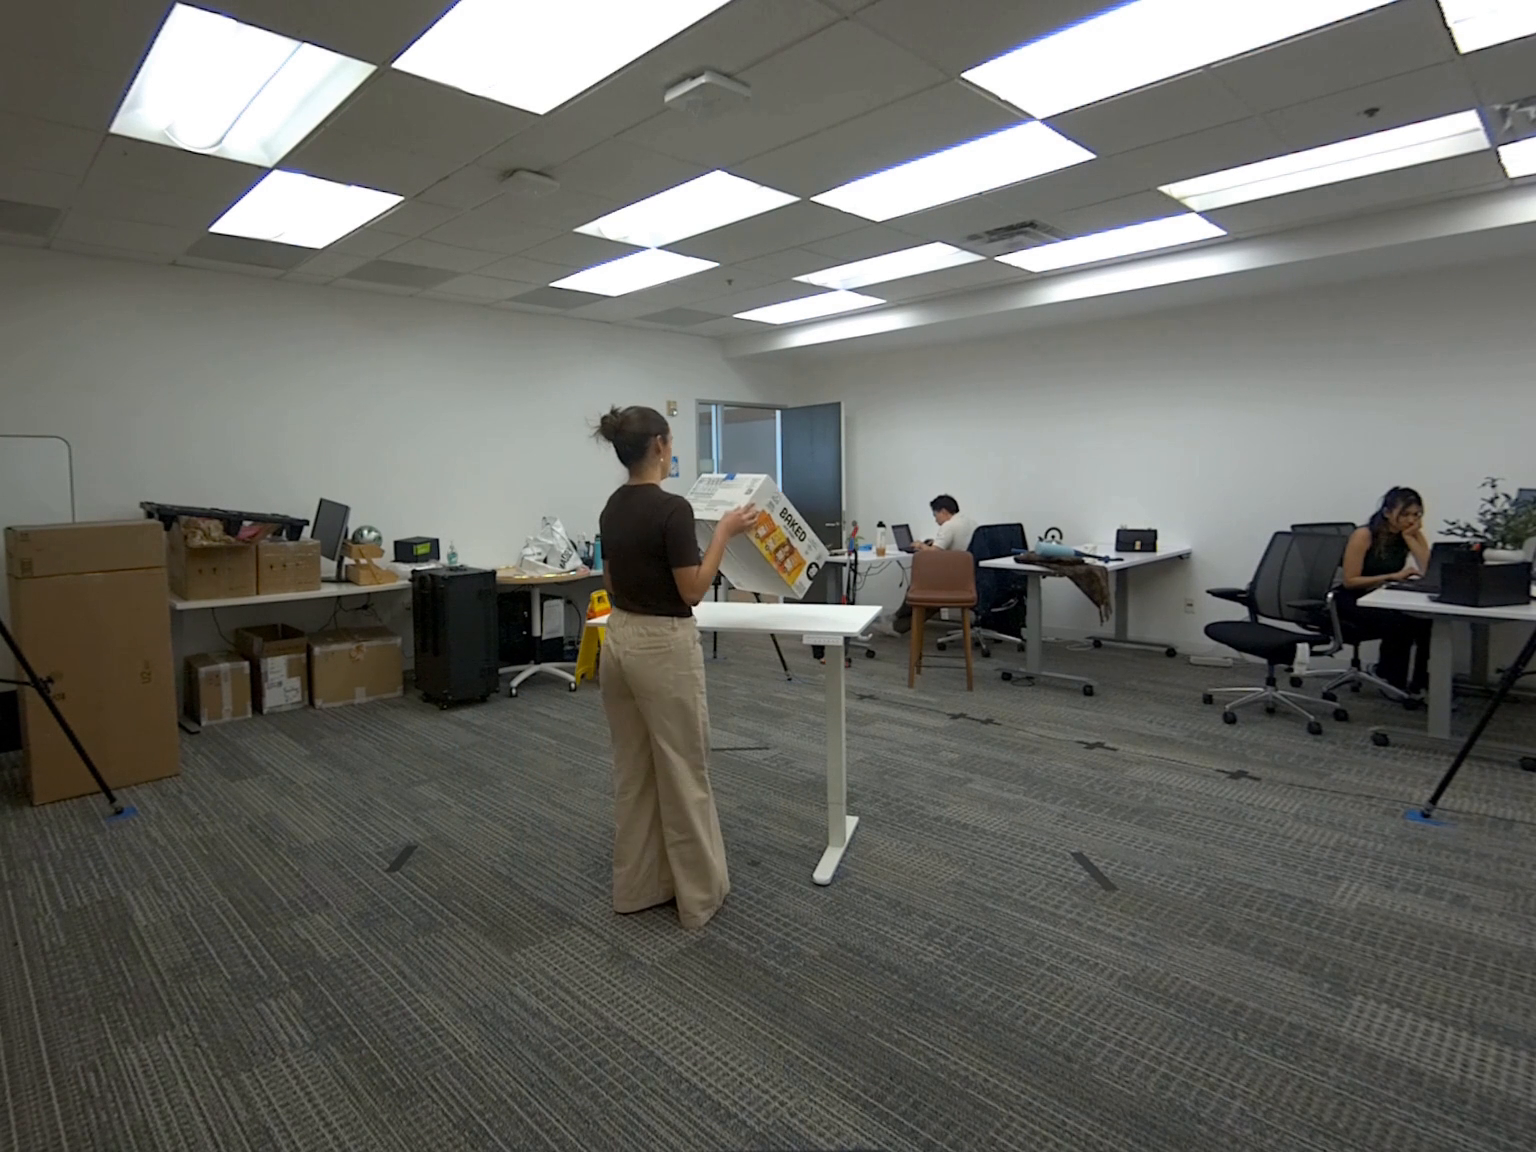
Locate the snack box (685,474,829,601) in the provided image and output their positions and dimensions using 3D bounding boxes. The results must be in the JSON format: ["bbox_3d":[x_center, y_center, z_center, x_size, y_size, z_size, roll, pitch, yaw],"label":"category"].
[{"bbox_3d":[-0.061,-0.137,2.917,0.351,0.206,0.391,6,-35,49],"label":"snack box"}]
